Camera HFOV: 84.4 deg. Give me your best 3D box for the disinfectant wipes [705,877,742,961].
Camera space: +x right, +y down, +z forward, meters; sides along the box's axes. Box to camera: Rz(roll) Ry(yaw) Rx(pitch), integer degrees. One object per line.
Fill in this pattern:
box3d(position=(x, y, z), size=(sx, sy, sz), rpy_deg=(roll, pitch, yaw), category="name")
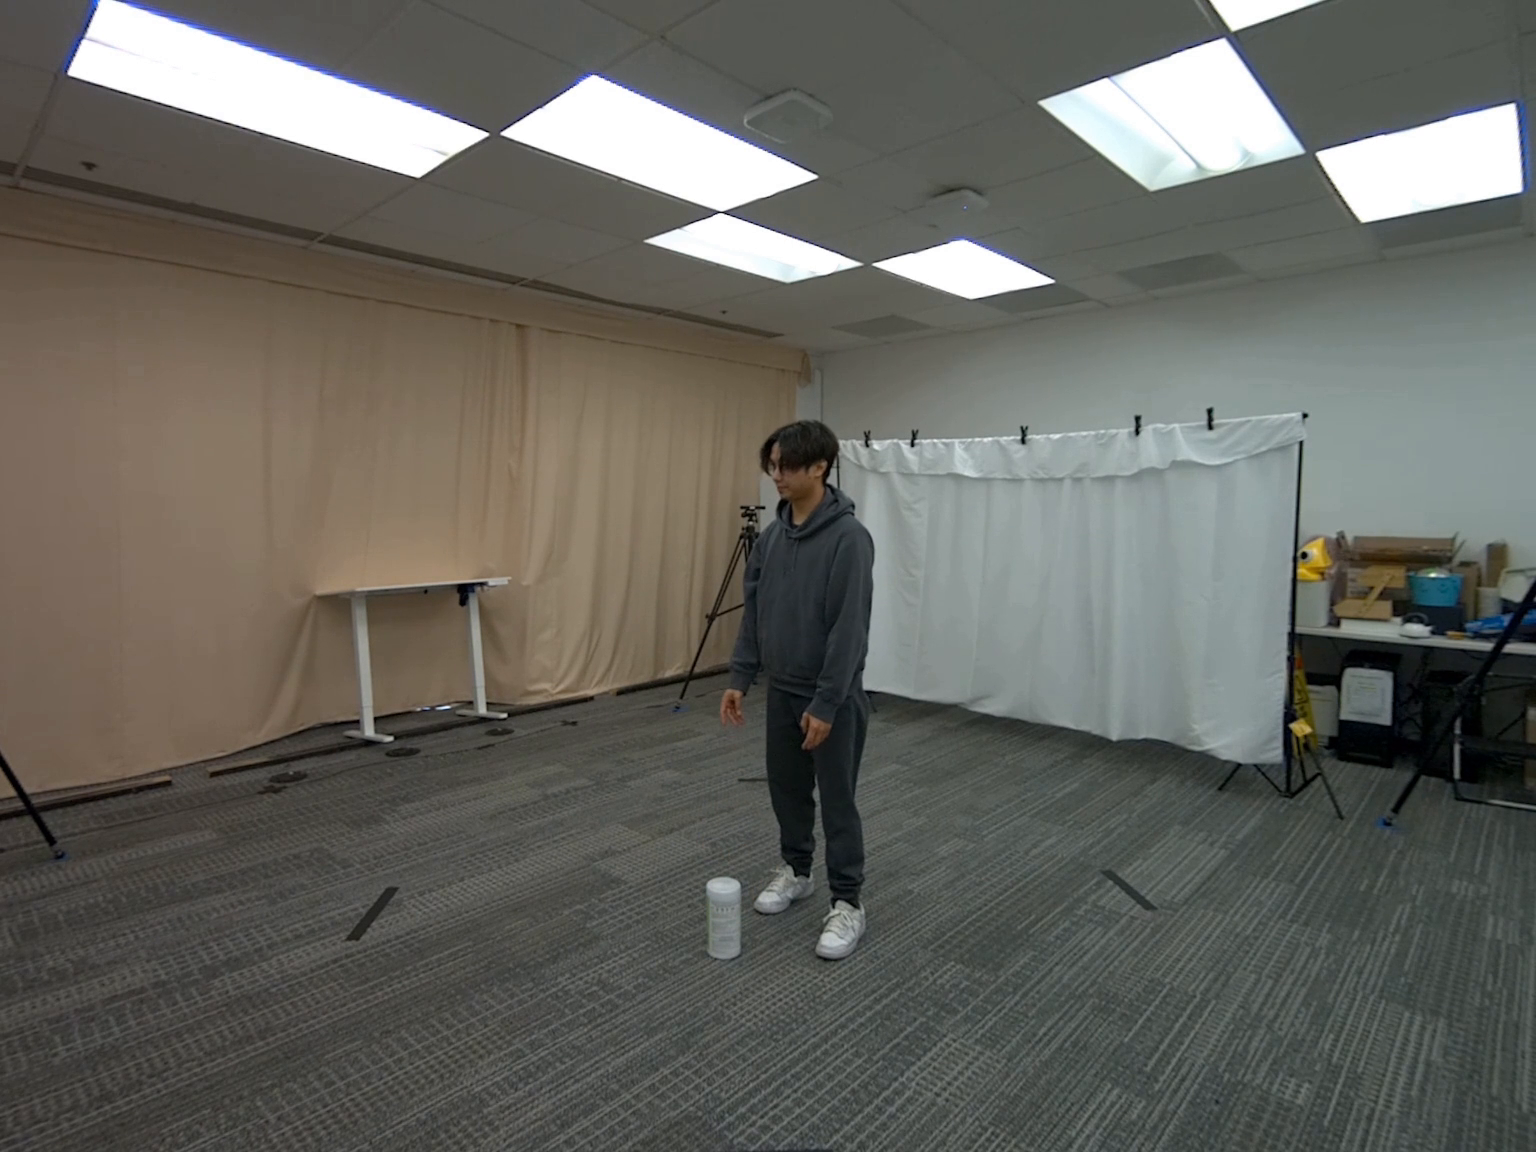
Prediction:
box3d(position=(-0.134, 1.074, 2.621), size=(0.118, 0.217, 0.118), rpy_deg=(-2, 2, -2), category="disinfectant wipes")
